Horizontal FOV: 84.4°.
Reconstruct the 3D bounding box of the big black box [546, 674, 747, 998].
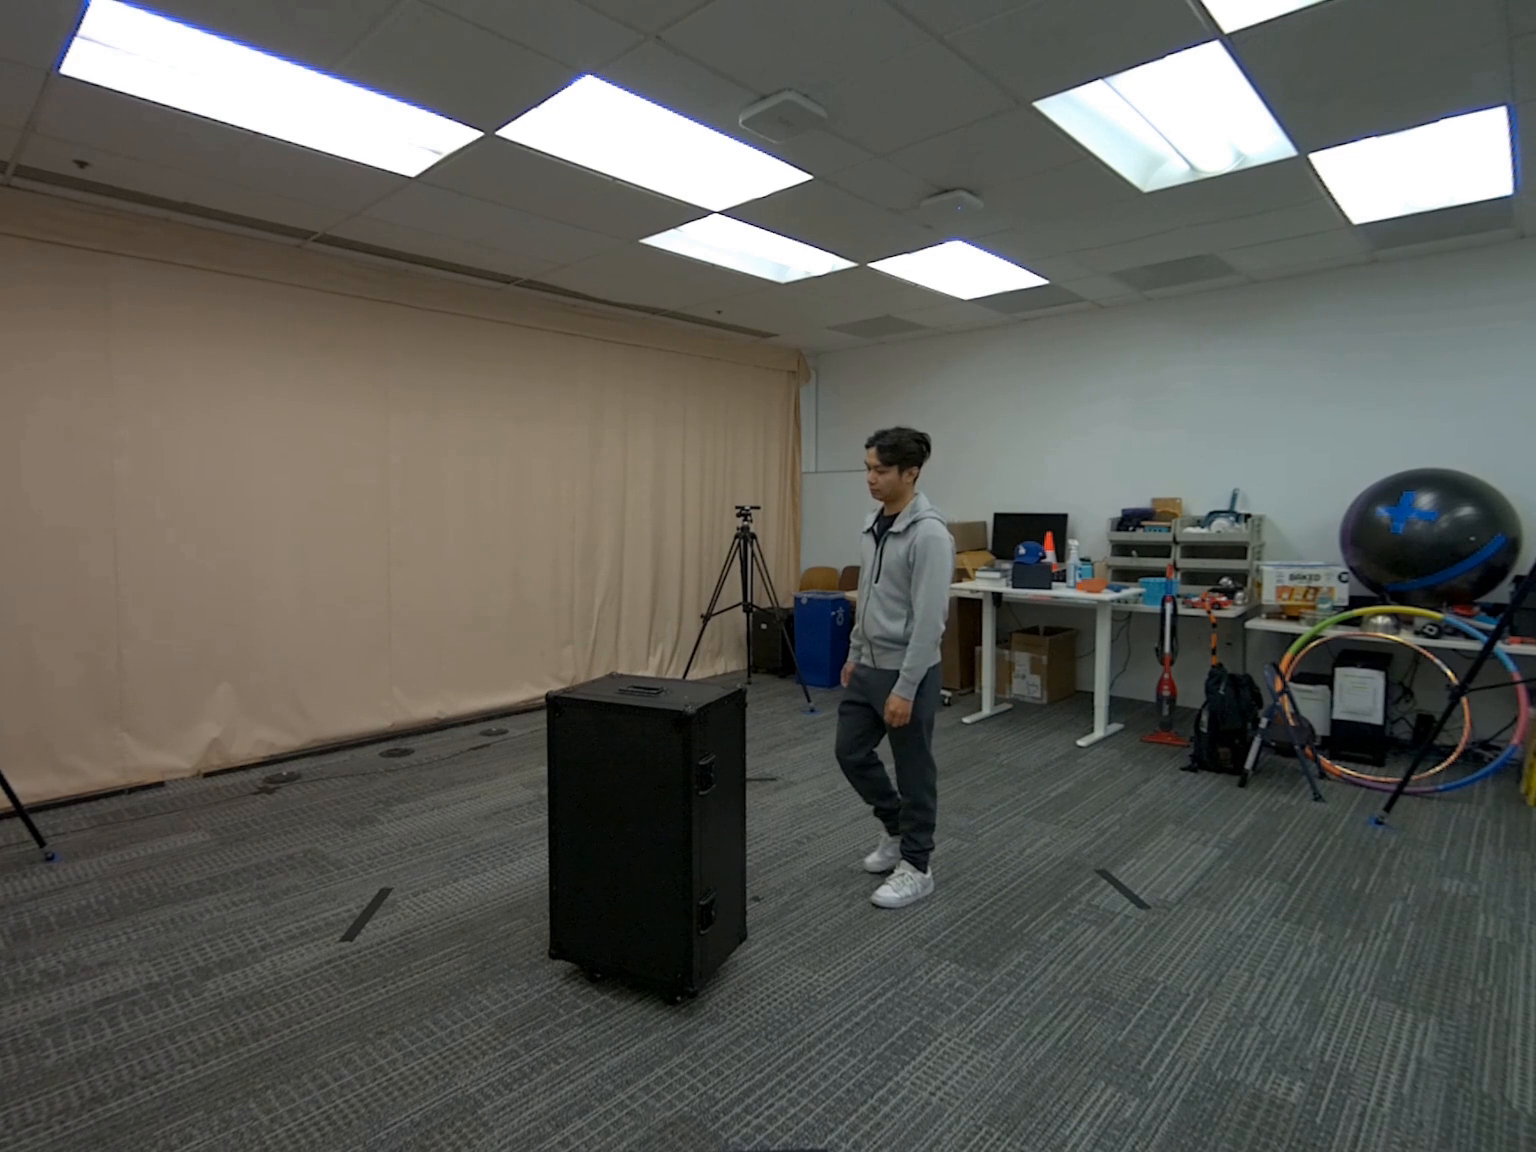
[{"bbox_3d":[-0.353,0.761,2.512,0.534,0.860,0.387,1,2,25],"label":"big black box"}]
